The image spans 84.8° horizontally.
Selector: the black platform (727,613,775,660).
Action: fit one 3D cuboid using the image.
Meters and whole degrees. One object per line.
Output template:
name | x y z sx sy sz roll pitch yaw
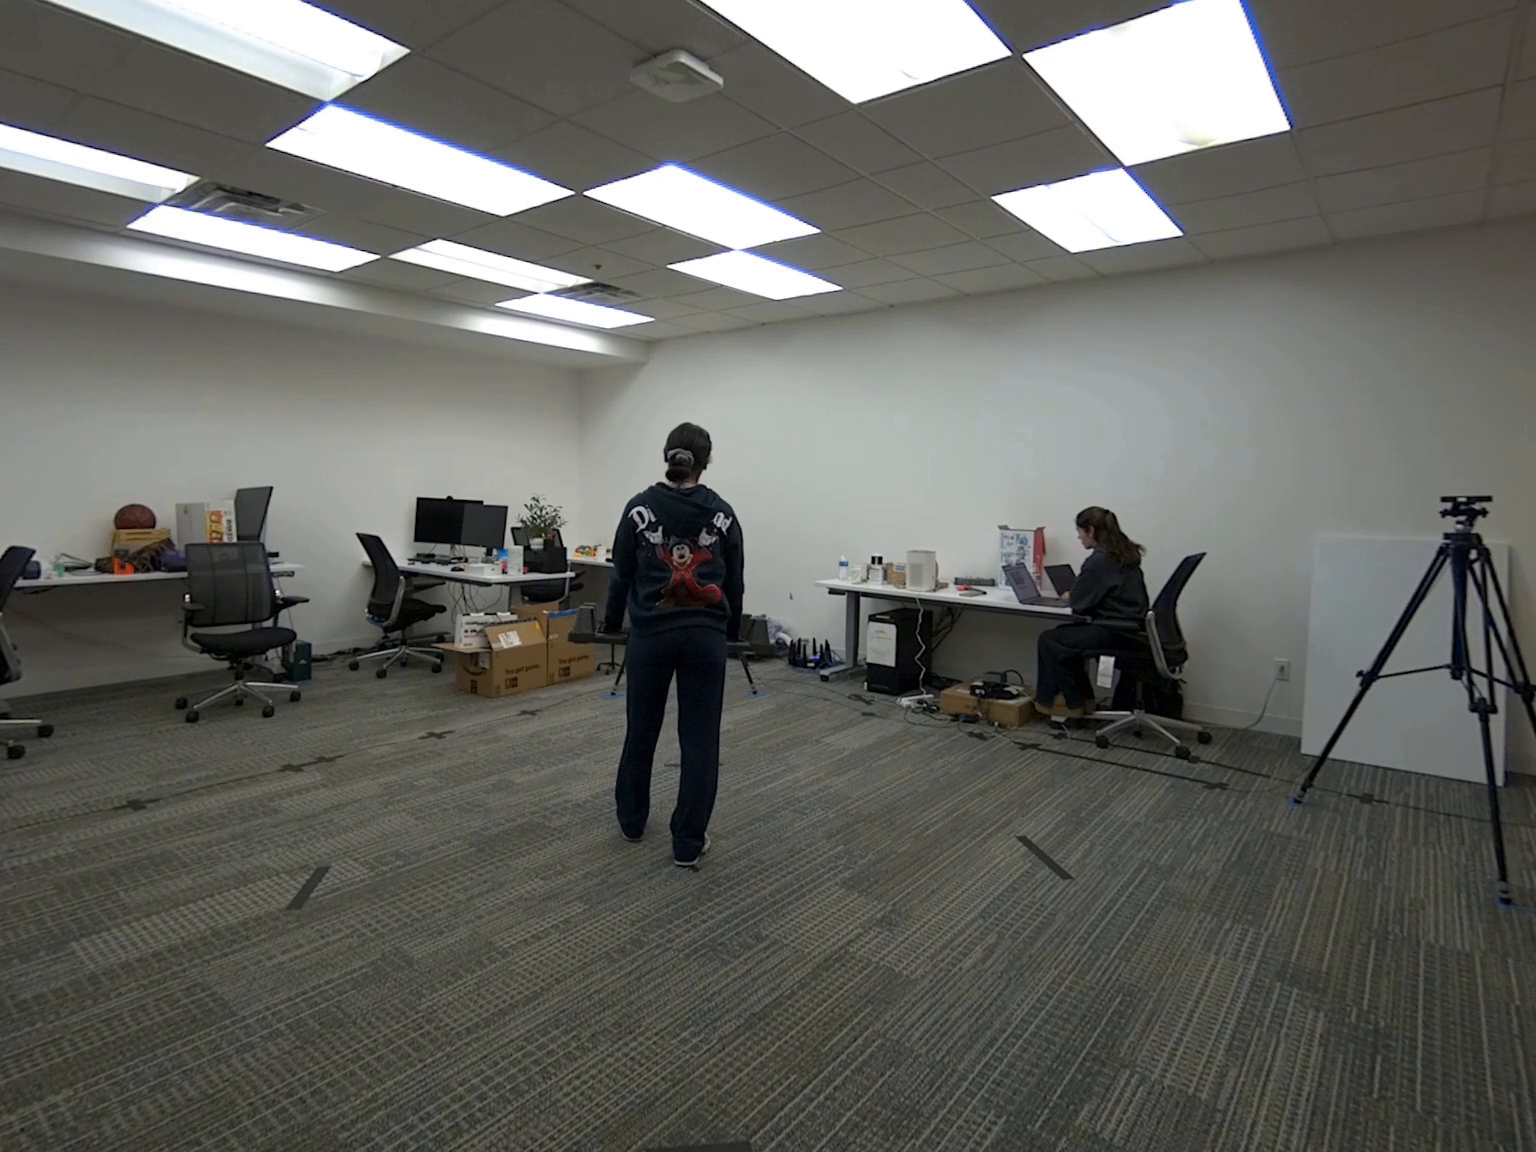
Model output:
black platform | -0.426 0.204 3.538 0.799 0.143 0.609 3 -1 -7
